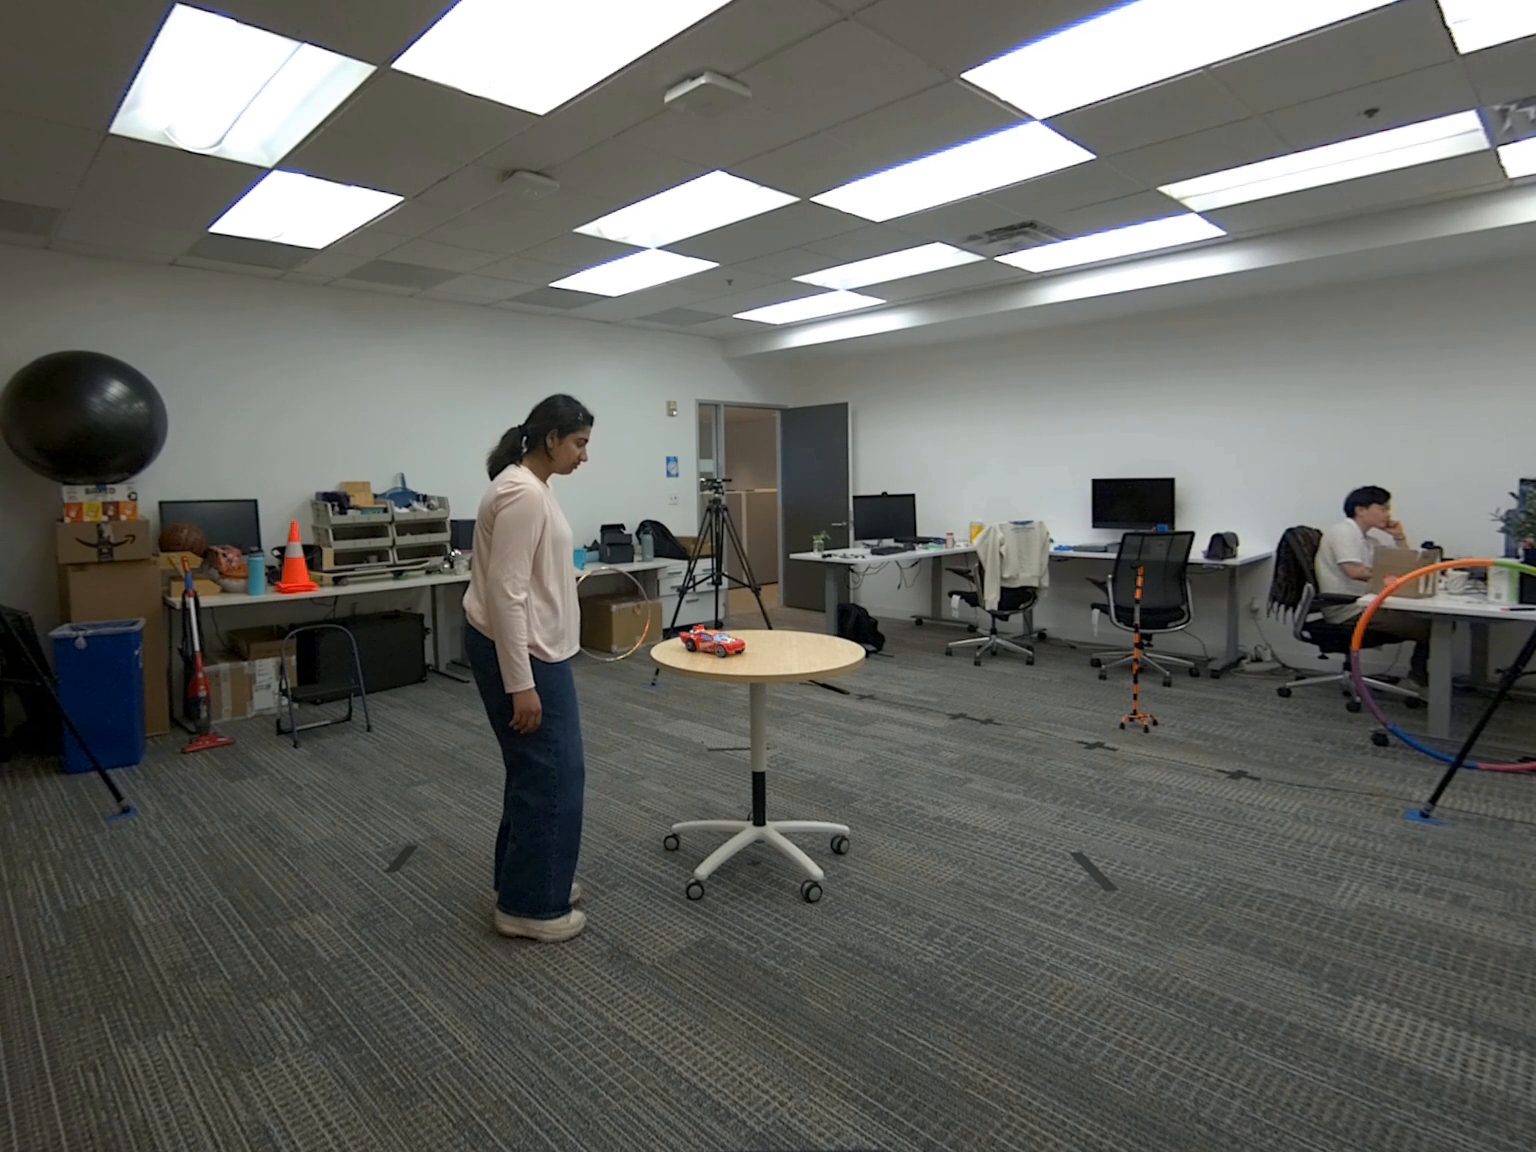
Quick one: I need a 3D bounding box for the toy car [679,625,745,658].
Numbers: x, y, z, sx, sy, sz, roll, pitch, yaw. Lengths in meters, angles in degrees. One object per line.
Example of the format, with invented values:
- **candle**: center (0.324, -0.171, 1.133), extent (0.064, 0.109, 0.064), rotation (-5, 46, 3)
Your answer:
- **toy car**: center (-0.200, 0.238, 3.045), extent (0.264, 0.082, 0.127), rotation (19, 17, 39)
